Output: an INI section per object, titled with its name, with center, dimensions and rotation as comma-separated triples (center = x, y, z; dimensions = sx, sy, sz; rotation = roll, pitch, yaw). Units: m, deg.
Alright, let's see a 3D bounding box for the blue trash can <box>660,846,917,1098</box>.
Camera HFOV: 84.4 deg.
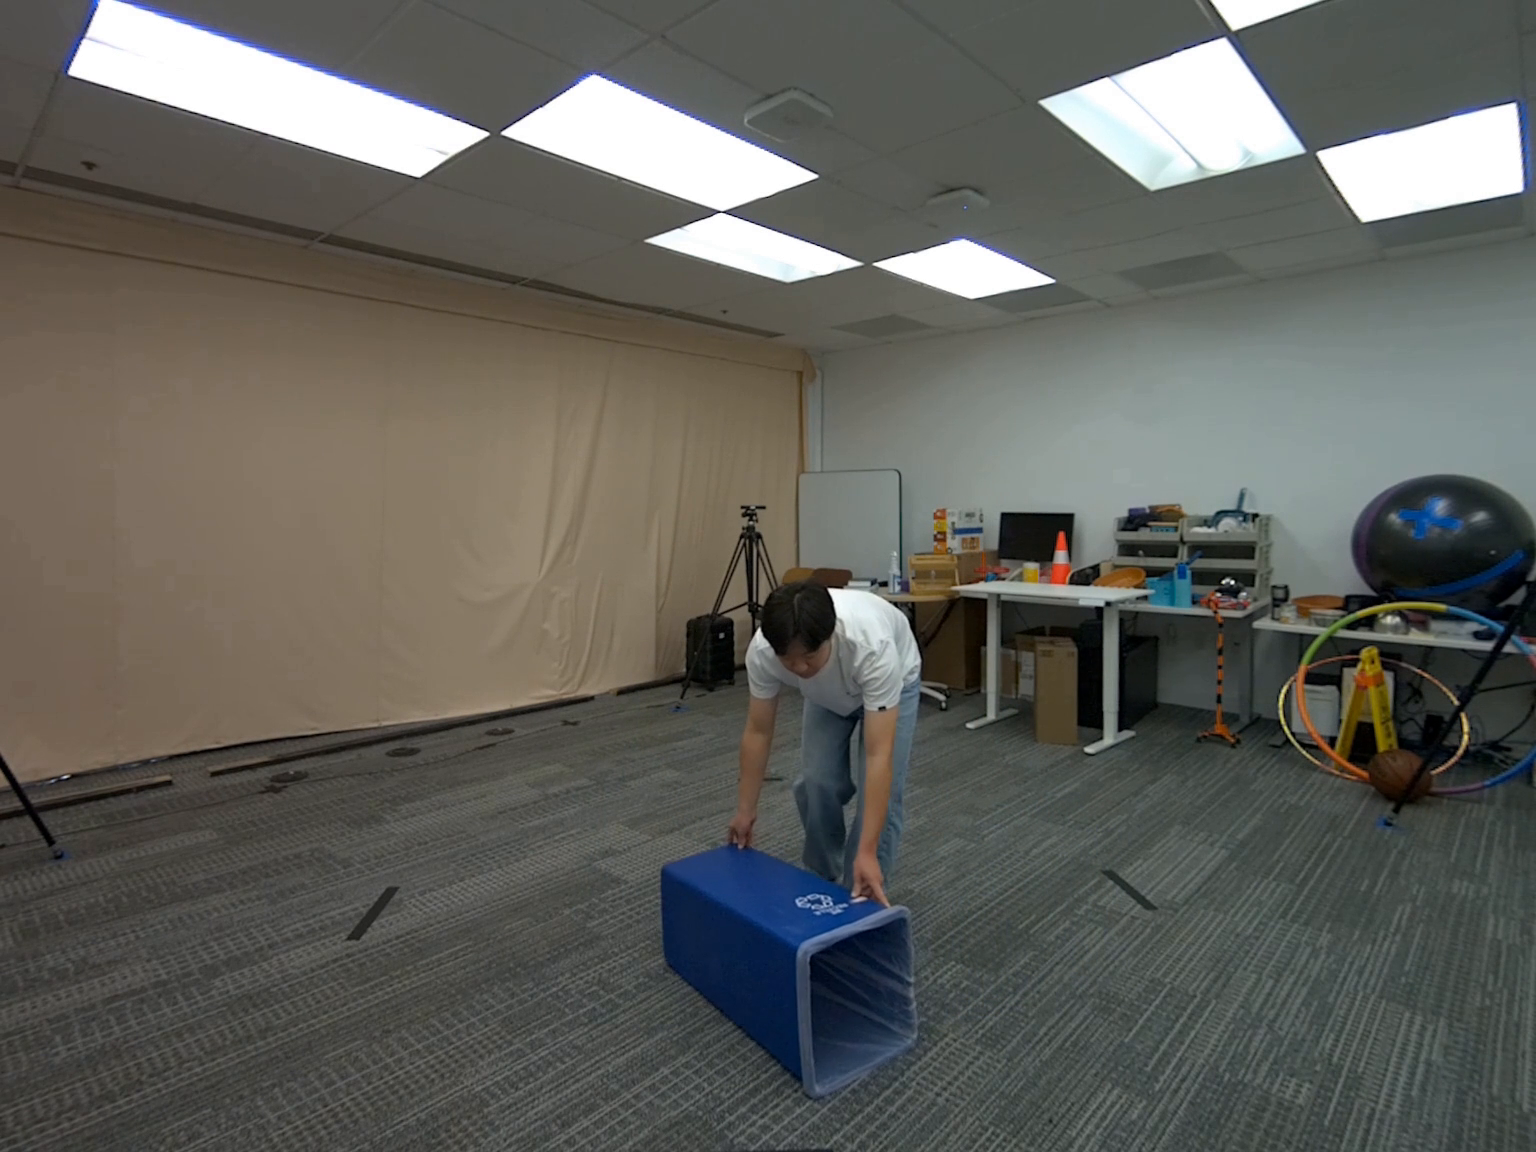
[blue trash can]
center = 0.017, 1.032, 2.346
dimensions = 0.363, 0.378, 0.735
rotation = -4, 2, -38
